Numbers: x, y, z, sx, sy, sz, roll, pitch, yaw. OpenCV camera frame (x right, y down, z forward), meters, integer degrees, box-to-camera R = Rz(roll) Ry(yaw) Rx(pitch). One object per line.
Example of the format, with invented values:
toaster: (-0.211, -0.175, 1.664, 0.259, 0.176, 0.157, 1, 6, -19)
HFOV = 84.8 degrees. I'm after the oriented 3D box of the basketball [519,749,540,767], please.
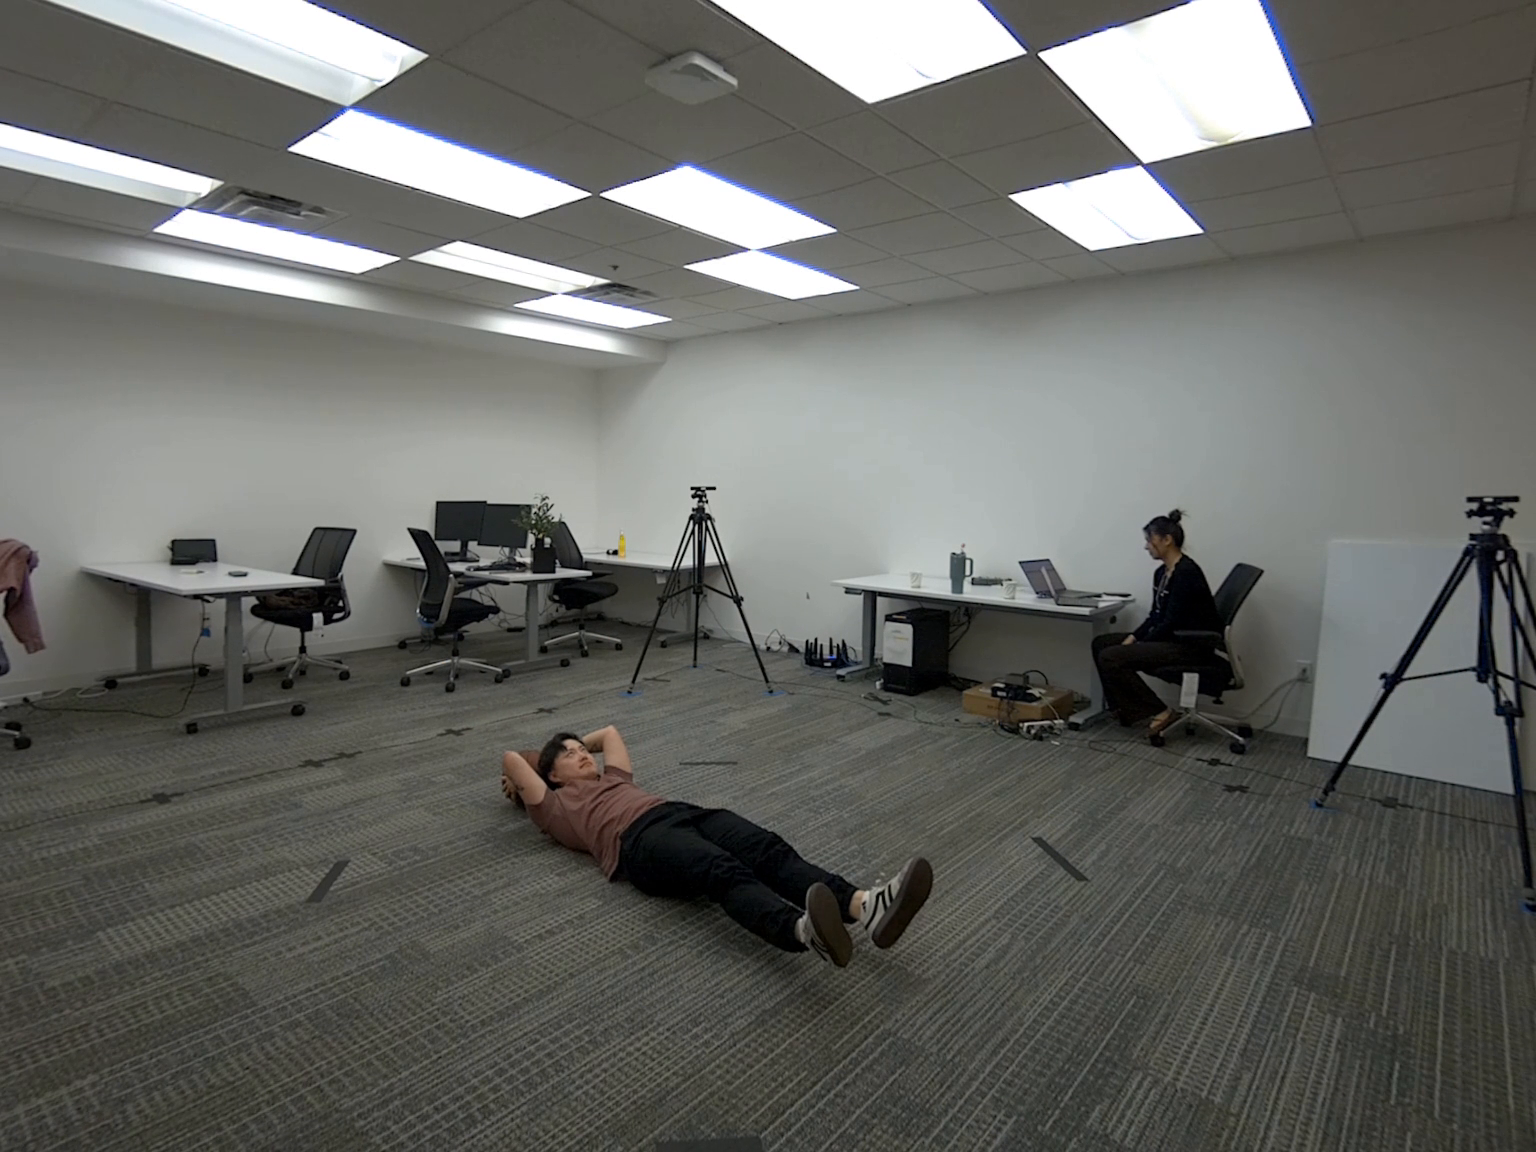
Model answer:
basketball: (-1.037, 0.867, 3.694, 0.235, 0.235, 0.237, 1, 5, -2)
